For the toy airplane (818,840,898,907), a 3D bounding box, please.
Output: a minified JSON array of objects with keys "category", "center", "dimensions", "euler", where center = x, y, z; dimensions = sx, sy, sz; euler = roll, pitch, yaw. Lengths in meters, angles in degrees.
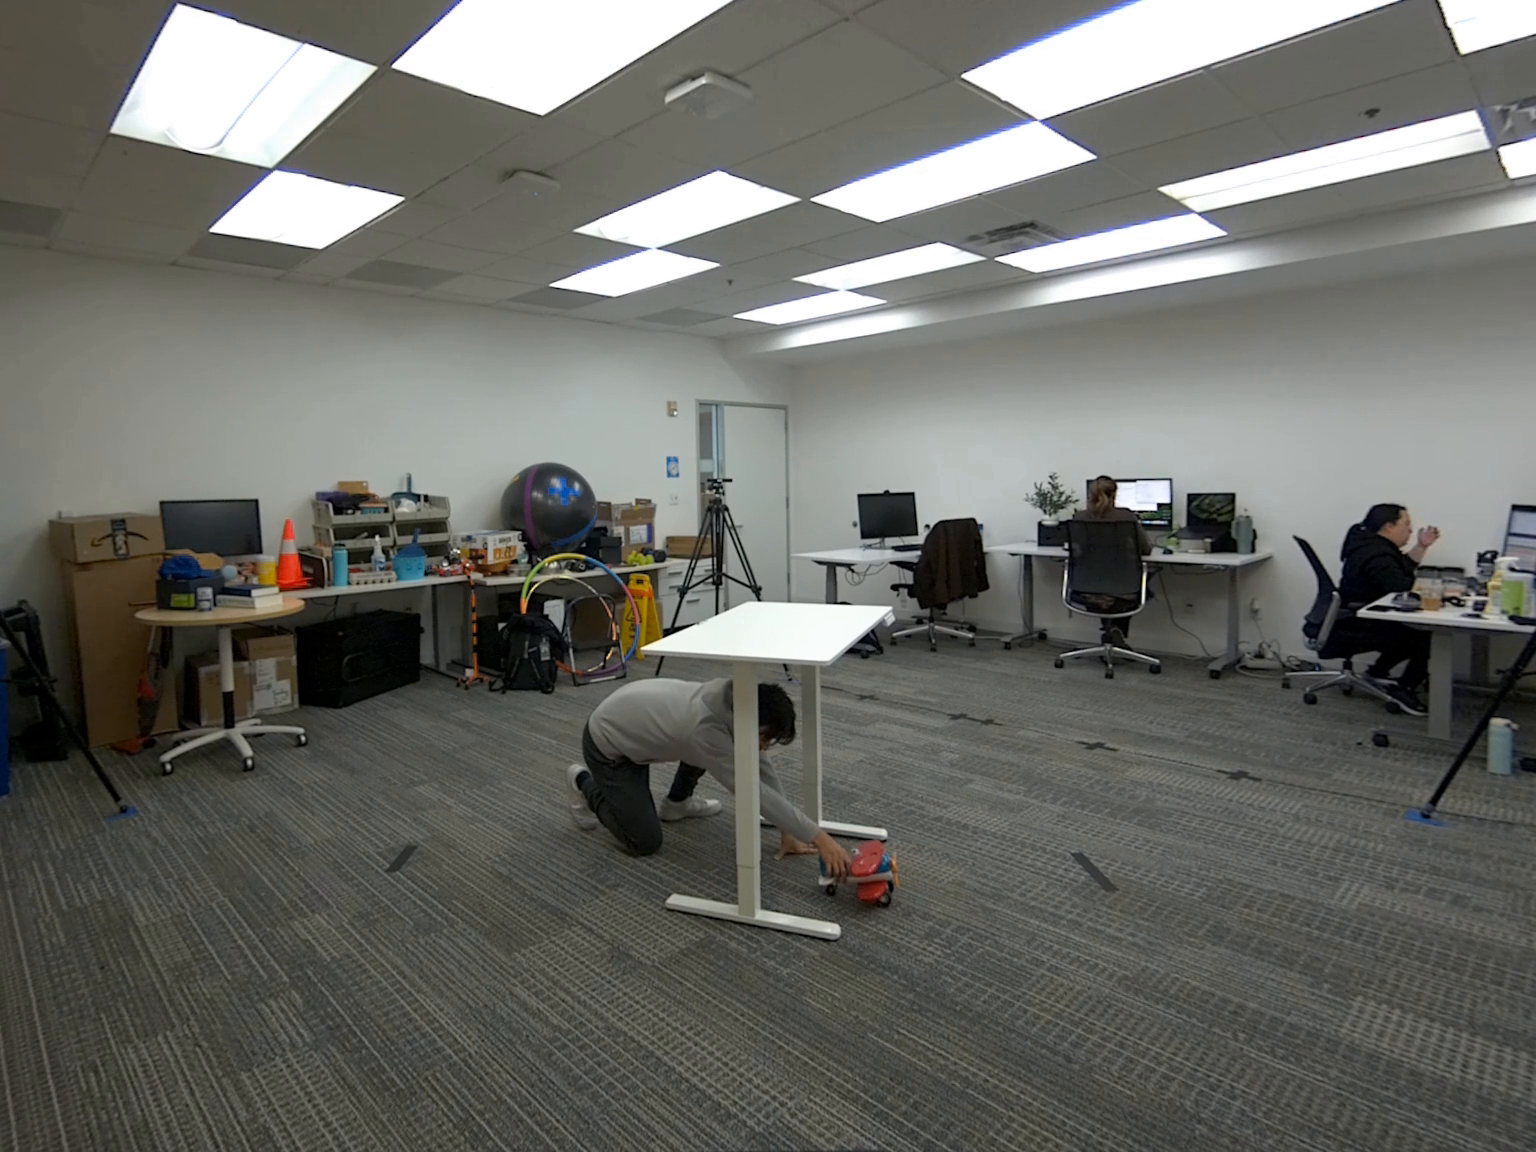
[{"category":"toy airplane","center":[0.305,1.001,2.823],"dimensions":[0.256,0.156,0.255],"euler":[-1,5,-14]}]
